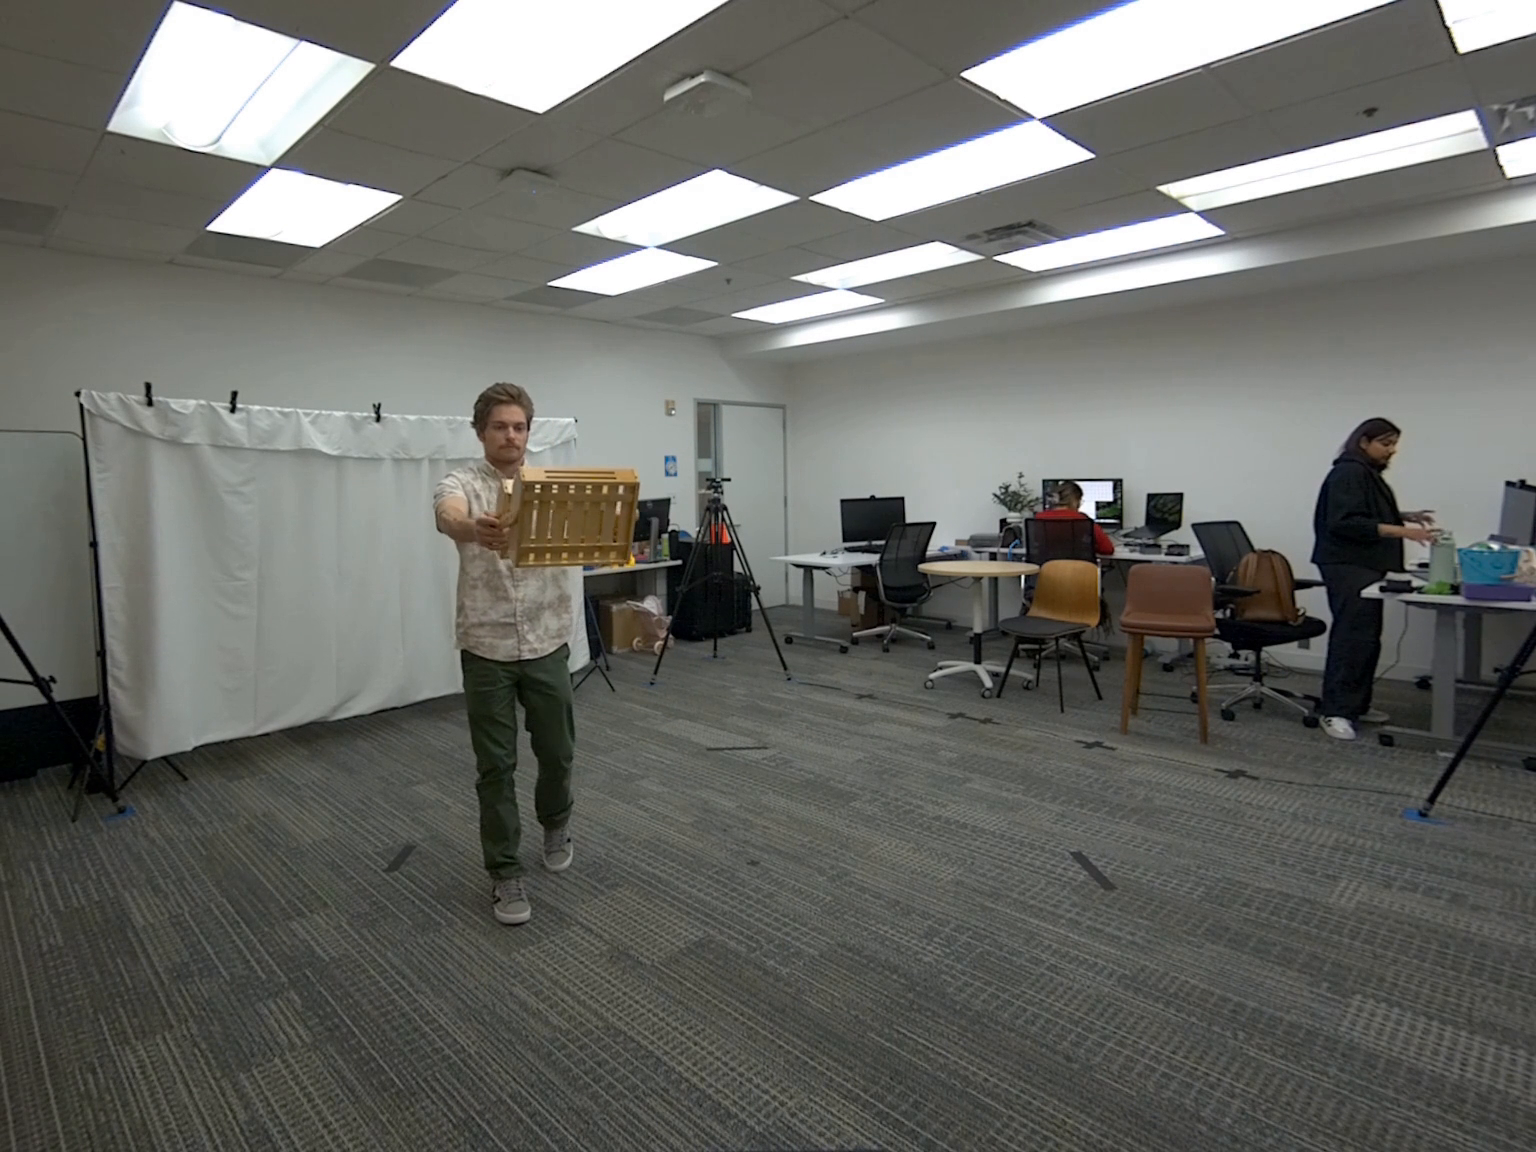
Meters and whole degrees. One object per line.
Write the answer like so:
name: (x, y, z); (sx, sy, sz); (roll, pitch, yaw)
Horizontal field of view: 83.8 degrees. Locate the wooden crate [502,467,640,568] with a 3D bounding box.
wooden crate: (-0.536, -0.172, 2.258); (0.317, 0.297, 0.284); (-2, 25, -27)
